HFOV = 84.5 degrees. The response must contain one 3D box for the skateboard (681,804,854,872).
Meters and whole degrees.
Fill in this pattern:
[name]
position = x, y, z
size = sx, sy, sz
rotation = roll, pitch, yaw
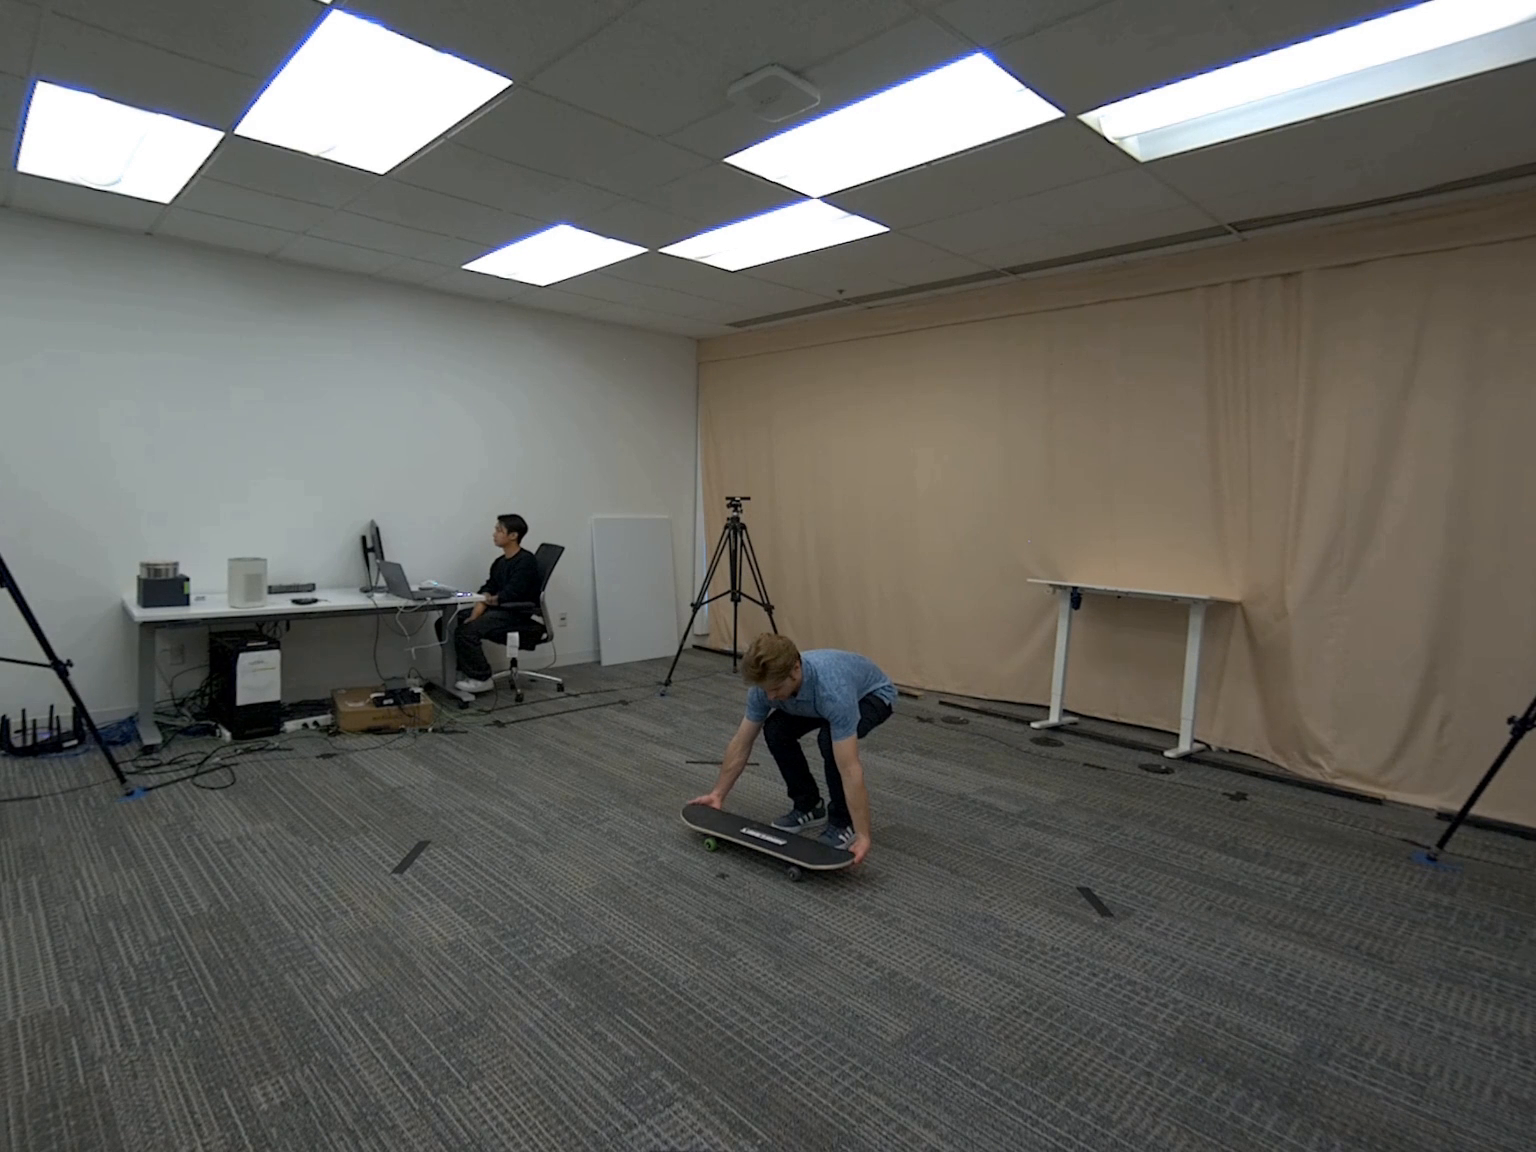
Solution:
[skateboard]
position = -0.022, 1.029, 3.258
size = 0.805, 0.110, 0.189
rotation = 6, 9, 38
